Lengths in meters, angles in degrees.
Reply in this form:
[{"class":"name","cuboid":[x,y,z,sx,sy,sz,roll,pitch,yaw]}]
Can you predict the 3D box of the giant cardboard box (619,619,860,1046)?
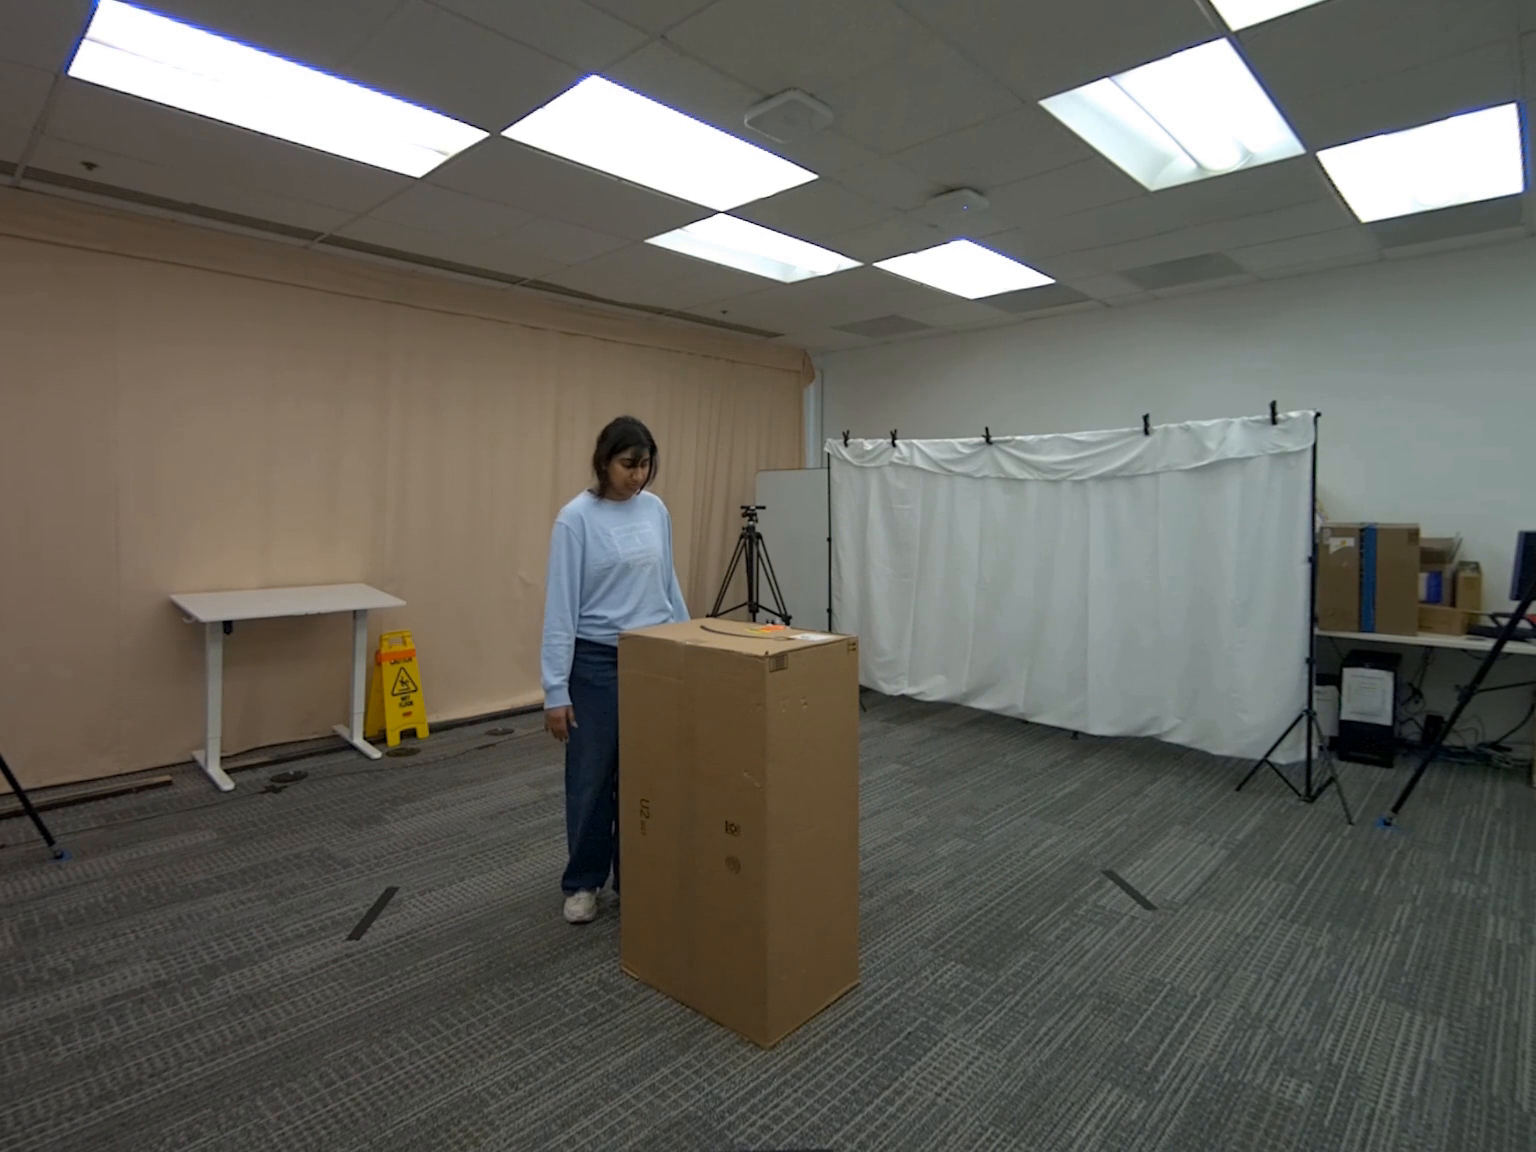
[{"class":"giant cardboard box","cuboid":[-0.082,0.679,2.466,0.603,1.025,0.433,3,3,42]}]
